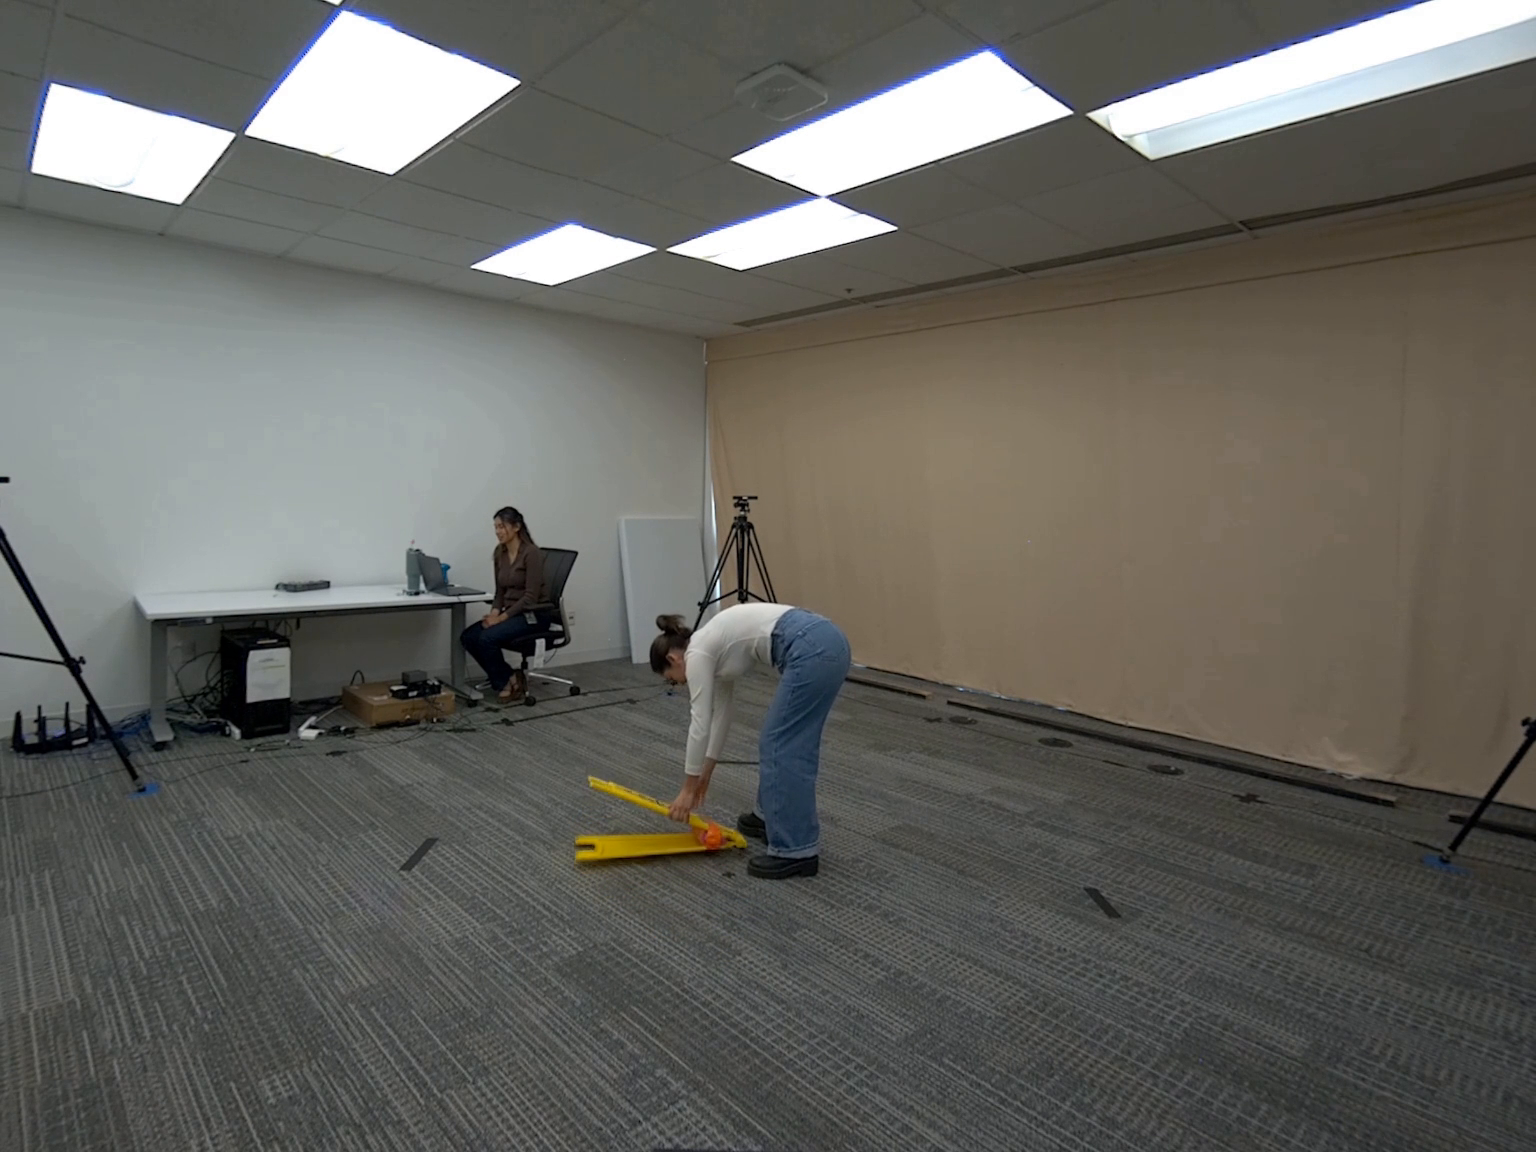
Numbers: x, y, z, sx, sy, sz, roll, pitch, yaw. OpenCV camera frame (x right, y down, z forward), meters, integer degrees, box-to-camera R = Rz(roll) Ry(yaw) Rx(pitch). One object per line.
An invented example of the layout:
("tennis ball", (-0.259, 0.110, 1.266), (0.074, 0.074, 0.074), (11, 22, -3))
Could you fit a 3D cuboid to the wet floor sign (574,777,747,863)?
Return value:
("wet floor sign", (-0.418, 0.985, 3.310), (0.640, 0.291, 0.283), (11, -8, -10))
